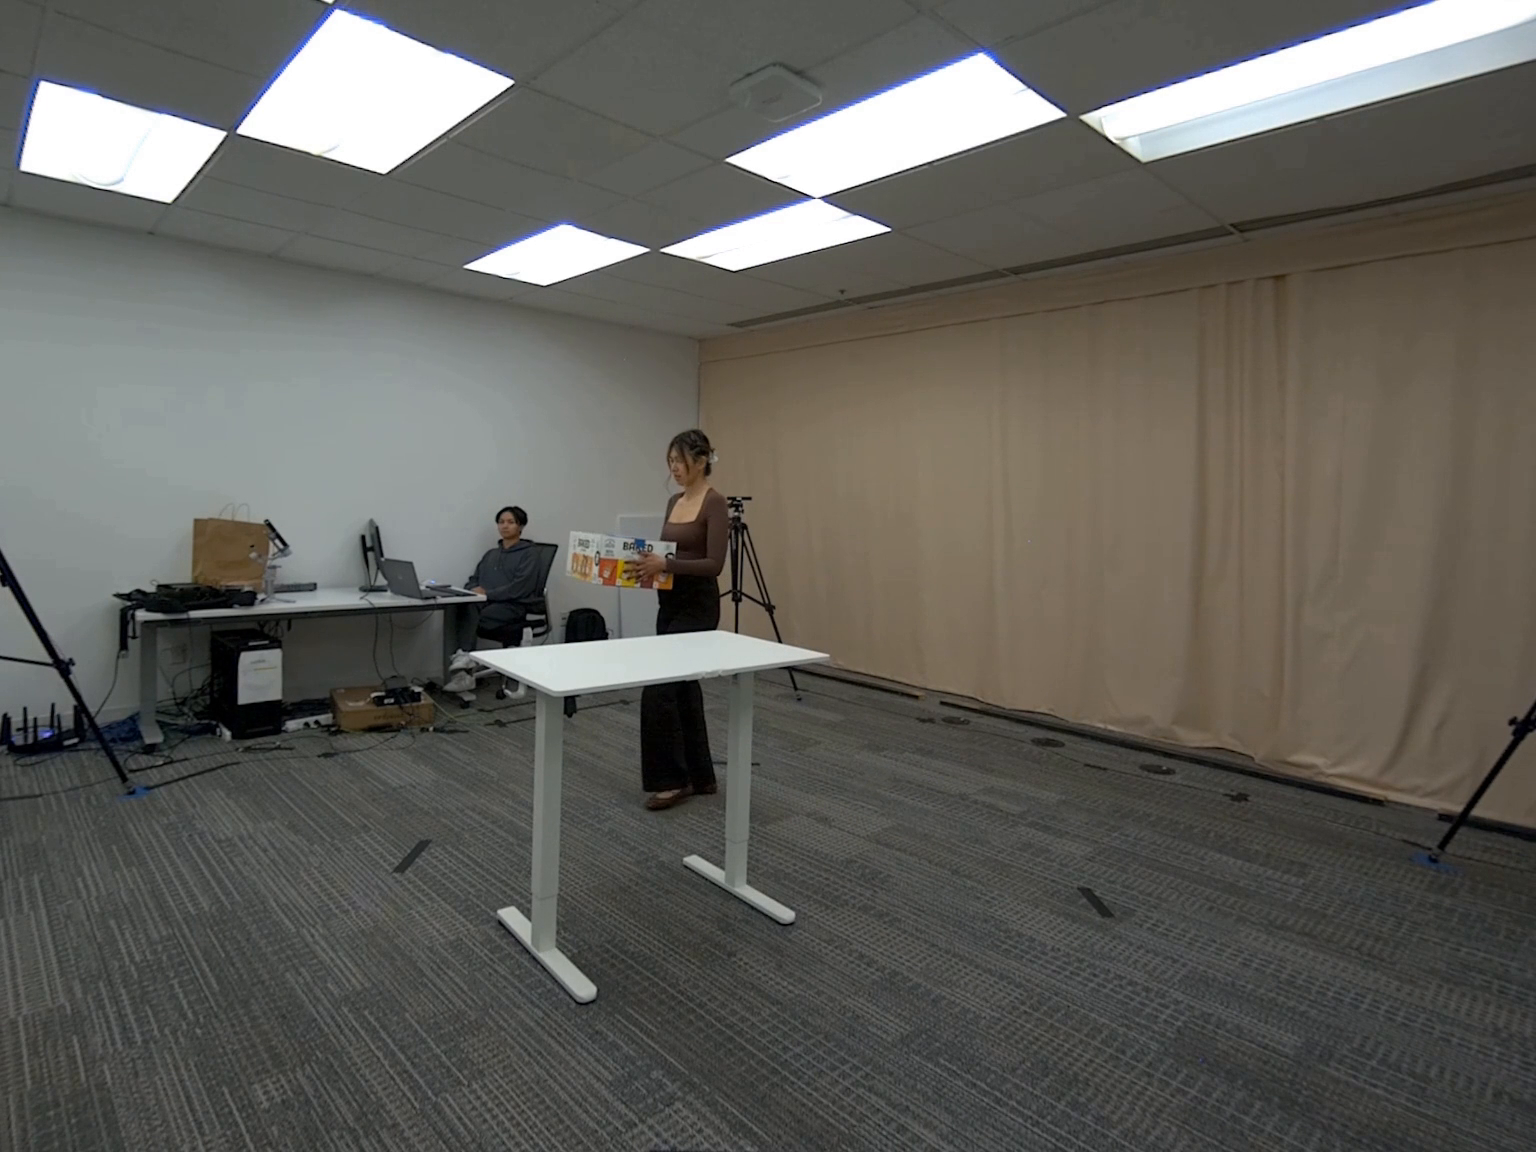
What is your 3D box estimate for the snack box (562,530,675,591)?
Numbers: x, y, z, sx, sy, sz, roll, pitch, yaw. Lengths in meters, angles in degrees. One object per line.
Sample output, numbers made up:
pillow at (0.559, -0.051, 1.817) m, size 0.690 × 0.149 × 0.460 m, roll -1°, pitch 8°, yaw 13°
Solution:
snack box at (-0.656, -0.071, 3.677) m, size 0.333 × 0.205 × 0.414 m, roll 5°, pitch 2°, yaw -31°
